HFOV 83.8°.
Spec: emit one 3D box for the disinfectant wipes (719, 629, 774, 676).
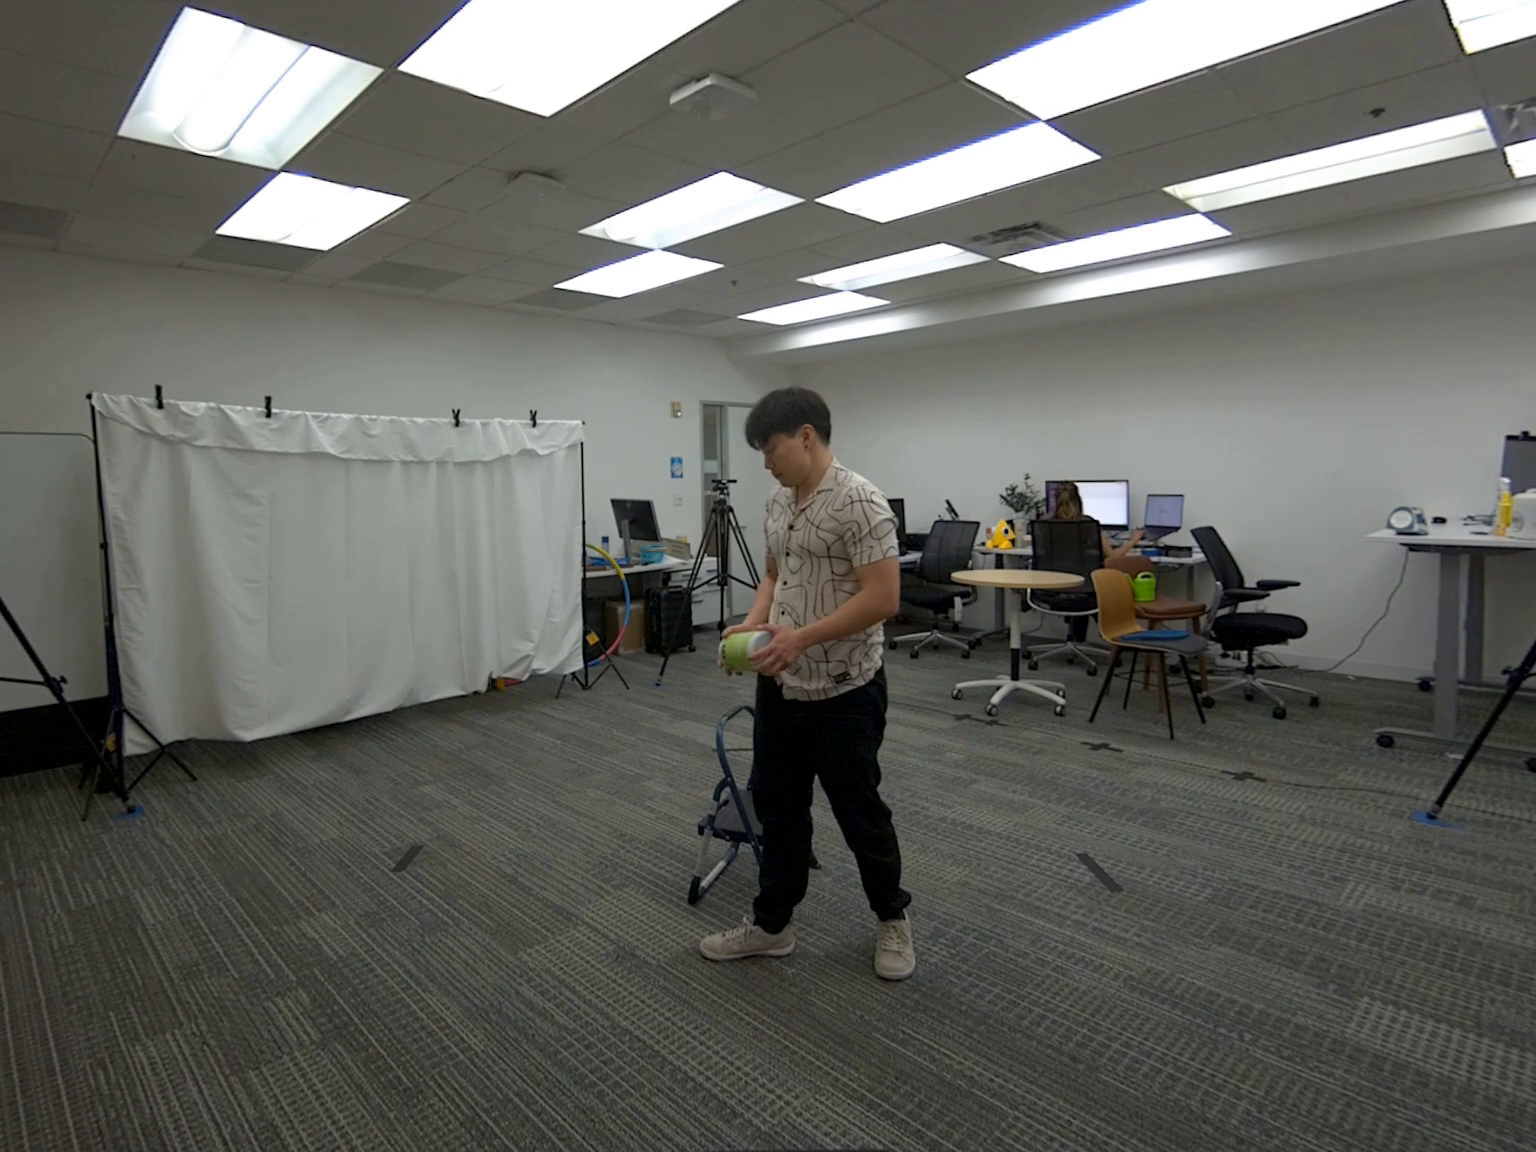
[{"bbox_3d":[-0.046,0.206,2.344,0.115,0.118,0.221,-3,-4,-26],"label":"disinfectant wipes"}]
